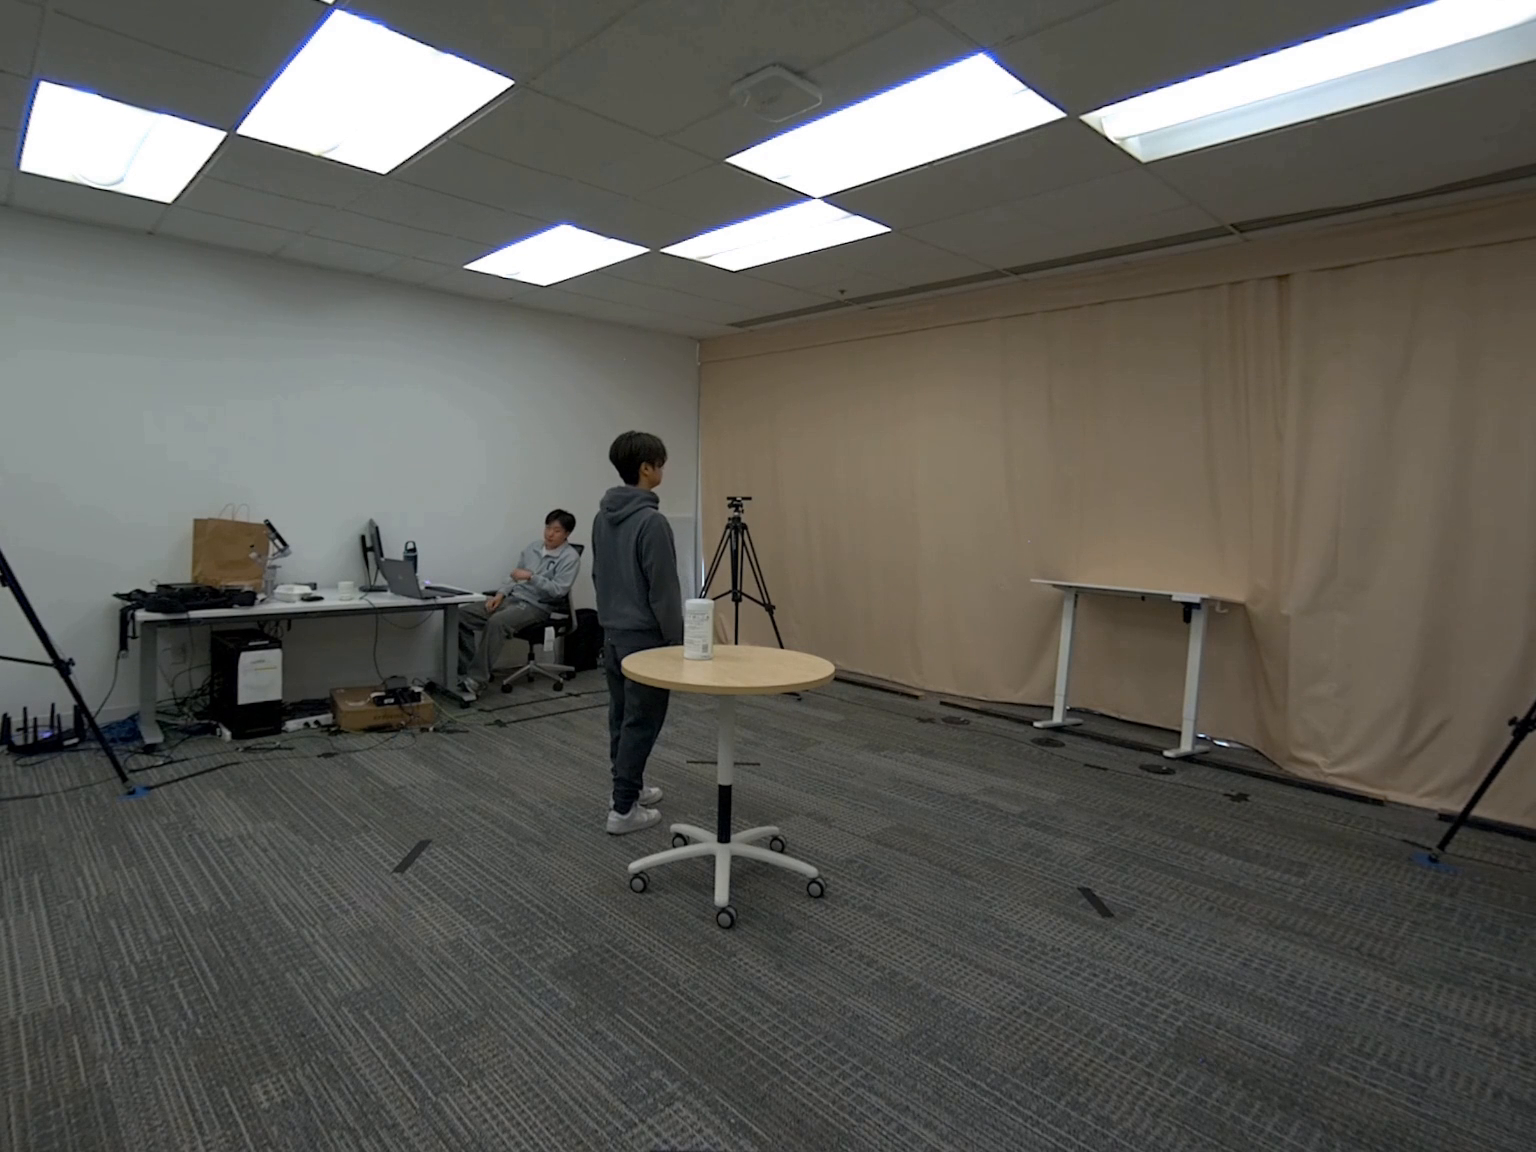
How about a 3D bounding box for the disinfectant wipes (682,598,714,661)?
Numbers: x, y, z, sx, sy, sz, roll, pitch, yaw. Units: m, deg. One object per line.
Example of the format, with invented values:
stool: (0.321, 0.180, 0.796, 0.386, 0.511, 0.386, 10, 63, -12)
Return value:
disinfectant wipes: (-0.260, 0.200, 3.114, 0.118, 0.217, 0.118, 1, 2, -1)
